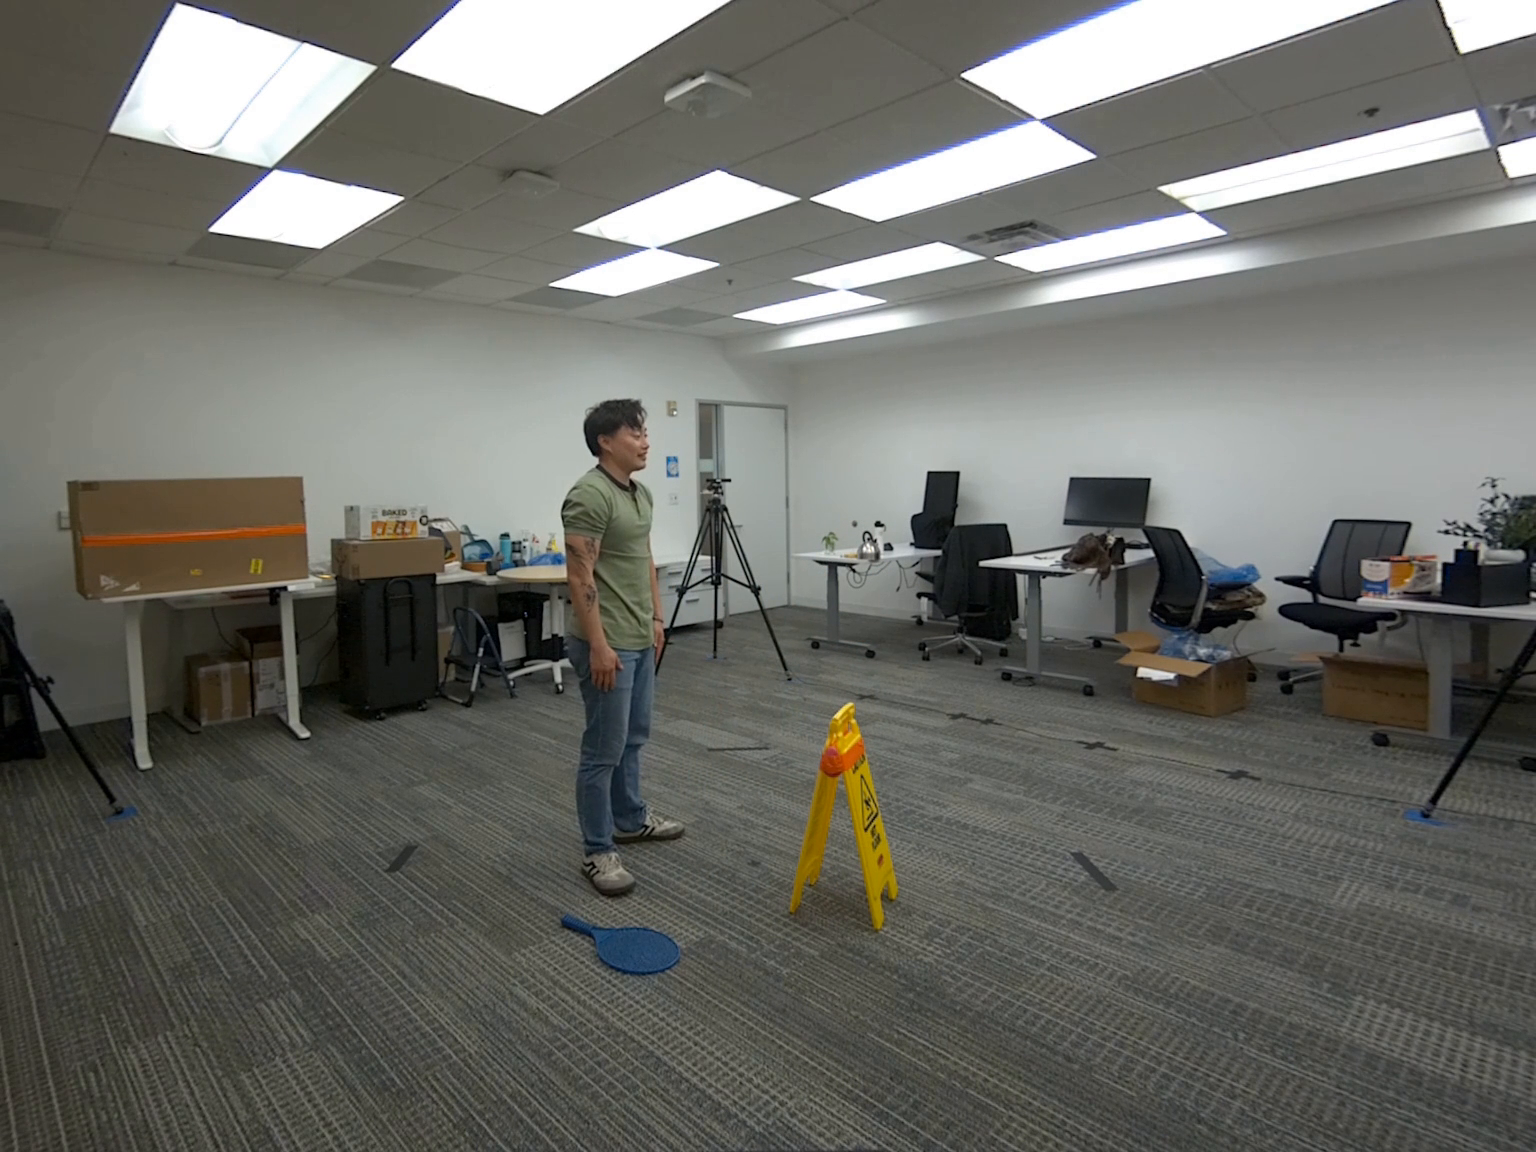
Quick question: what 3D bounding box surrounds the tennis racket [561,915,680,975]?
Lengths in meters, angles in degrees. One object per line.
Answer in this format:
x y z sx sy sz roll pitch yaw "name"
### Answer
-0.450 1.097 2.584 0.445 0.031 0.209 5 8 34 "tennis racket"
